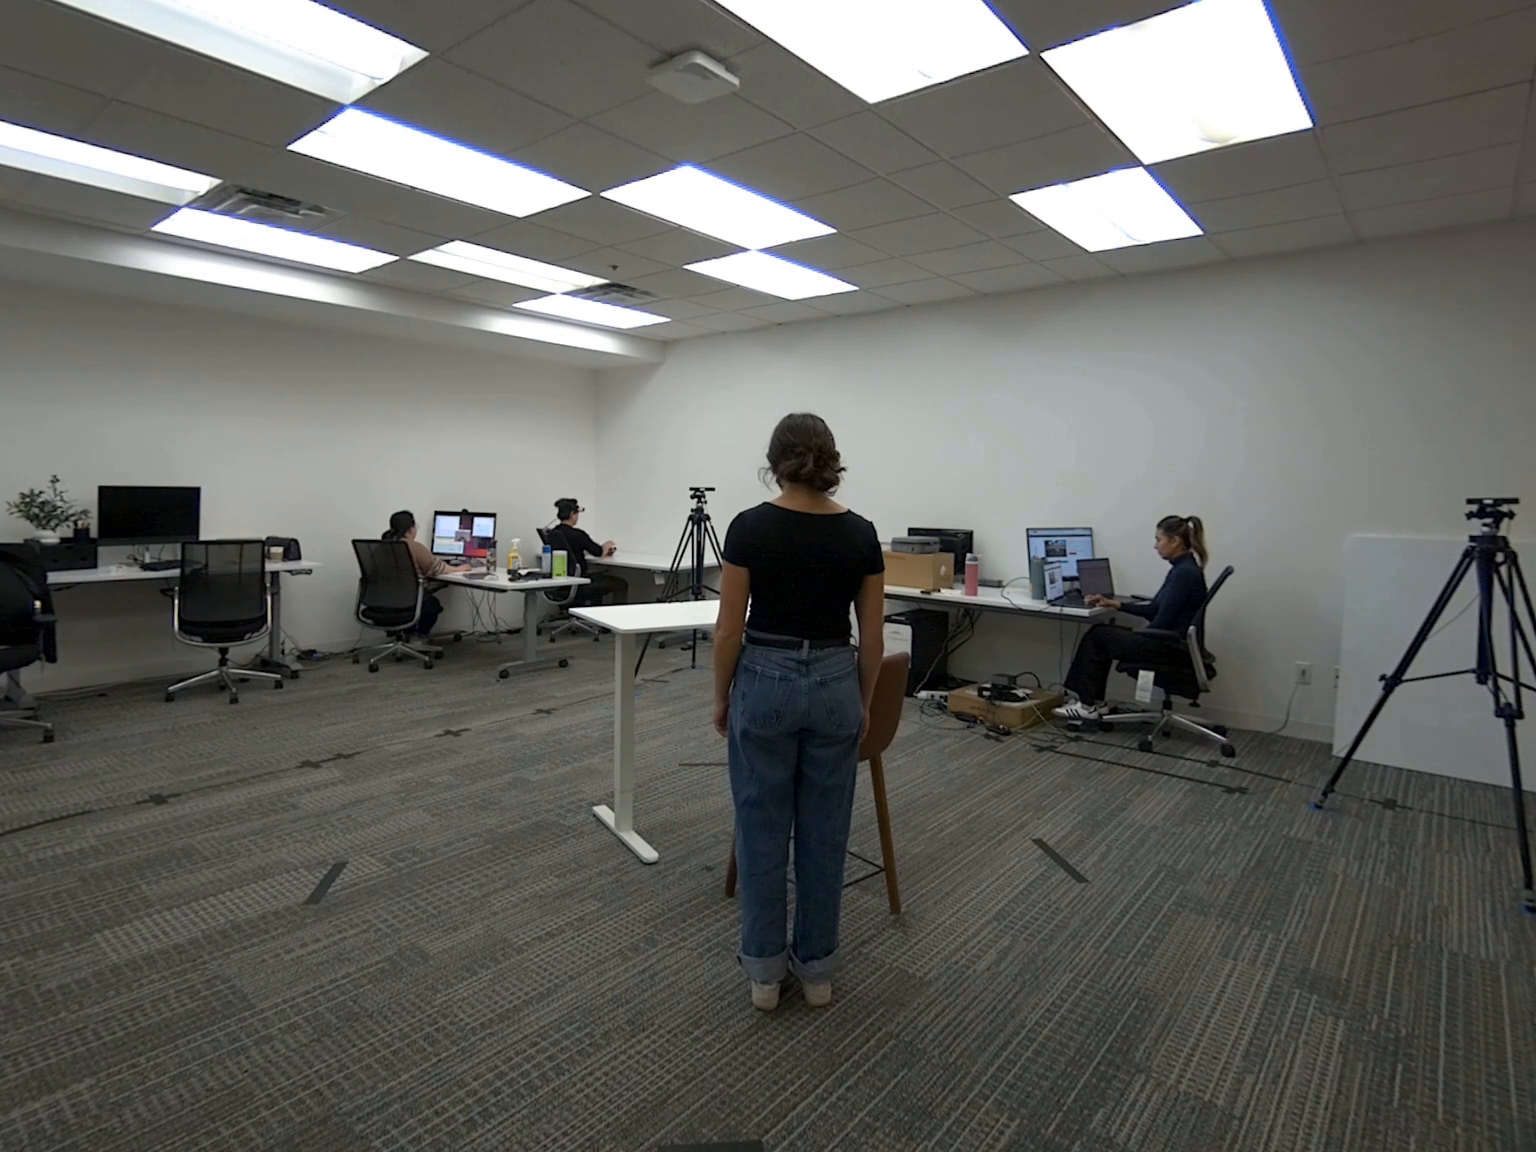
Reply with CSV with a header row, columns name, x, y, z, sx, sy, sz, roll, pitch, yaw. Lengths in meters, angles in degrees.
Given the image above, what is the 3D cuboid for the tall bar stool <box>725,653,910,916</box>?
name,x,y,z,sx,sy,sz,roll,pitch,yaw
tall bar stool,0.167,0.664,2.839,0.442,0.886,0.484,-1,6,-42
